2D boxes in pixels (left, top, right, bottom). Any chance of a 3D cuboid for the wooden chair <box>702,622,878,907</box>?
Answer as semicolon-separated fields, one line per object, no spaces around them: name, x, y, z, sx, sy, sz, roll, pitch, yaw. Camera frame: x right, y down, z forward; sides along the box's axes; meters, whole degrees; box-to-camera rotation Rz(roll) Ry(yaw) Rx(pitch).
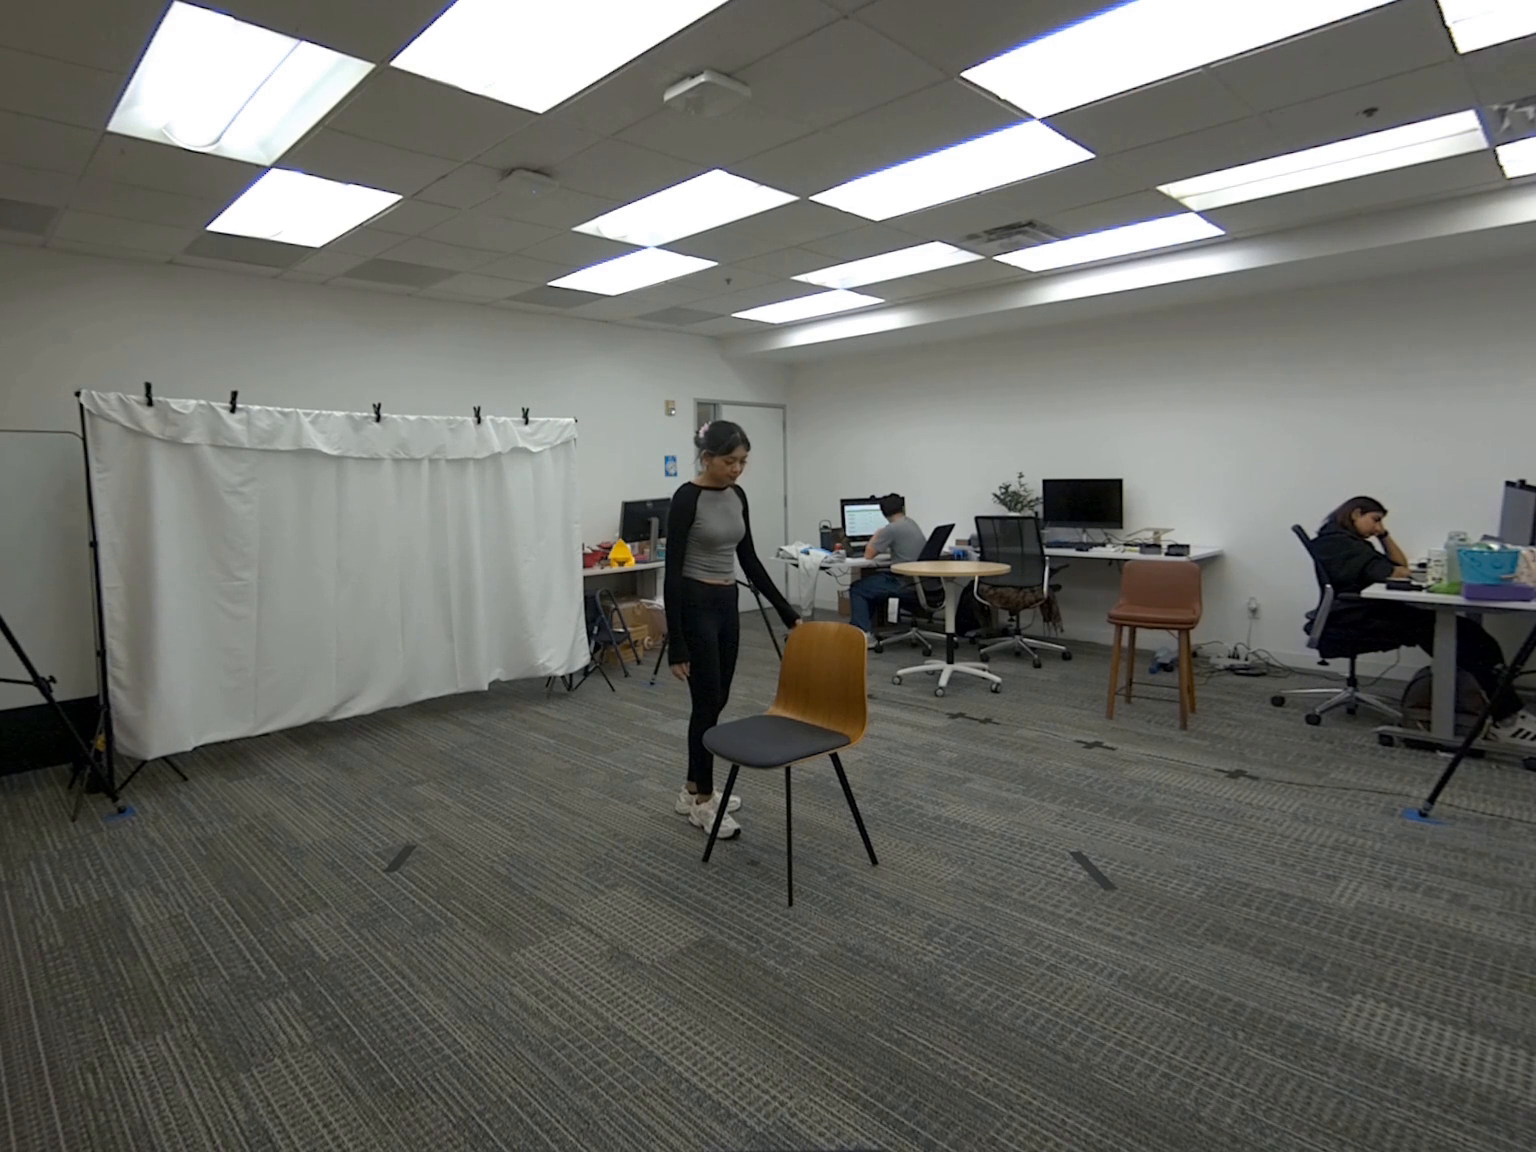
wooden chair;0.068;0.616;3.052;0.508;0.876;0.493;1;2;-43
